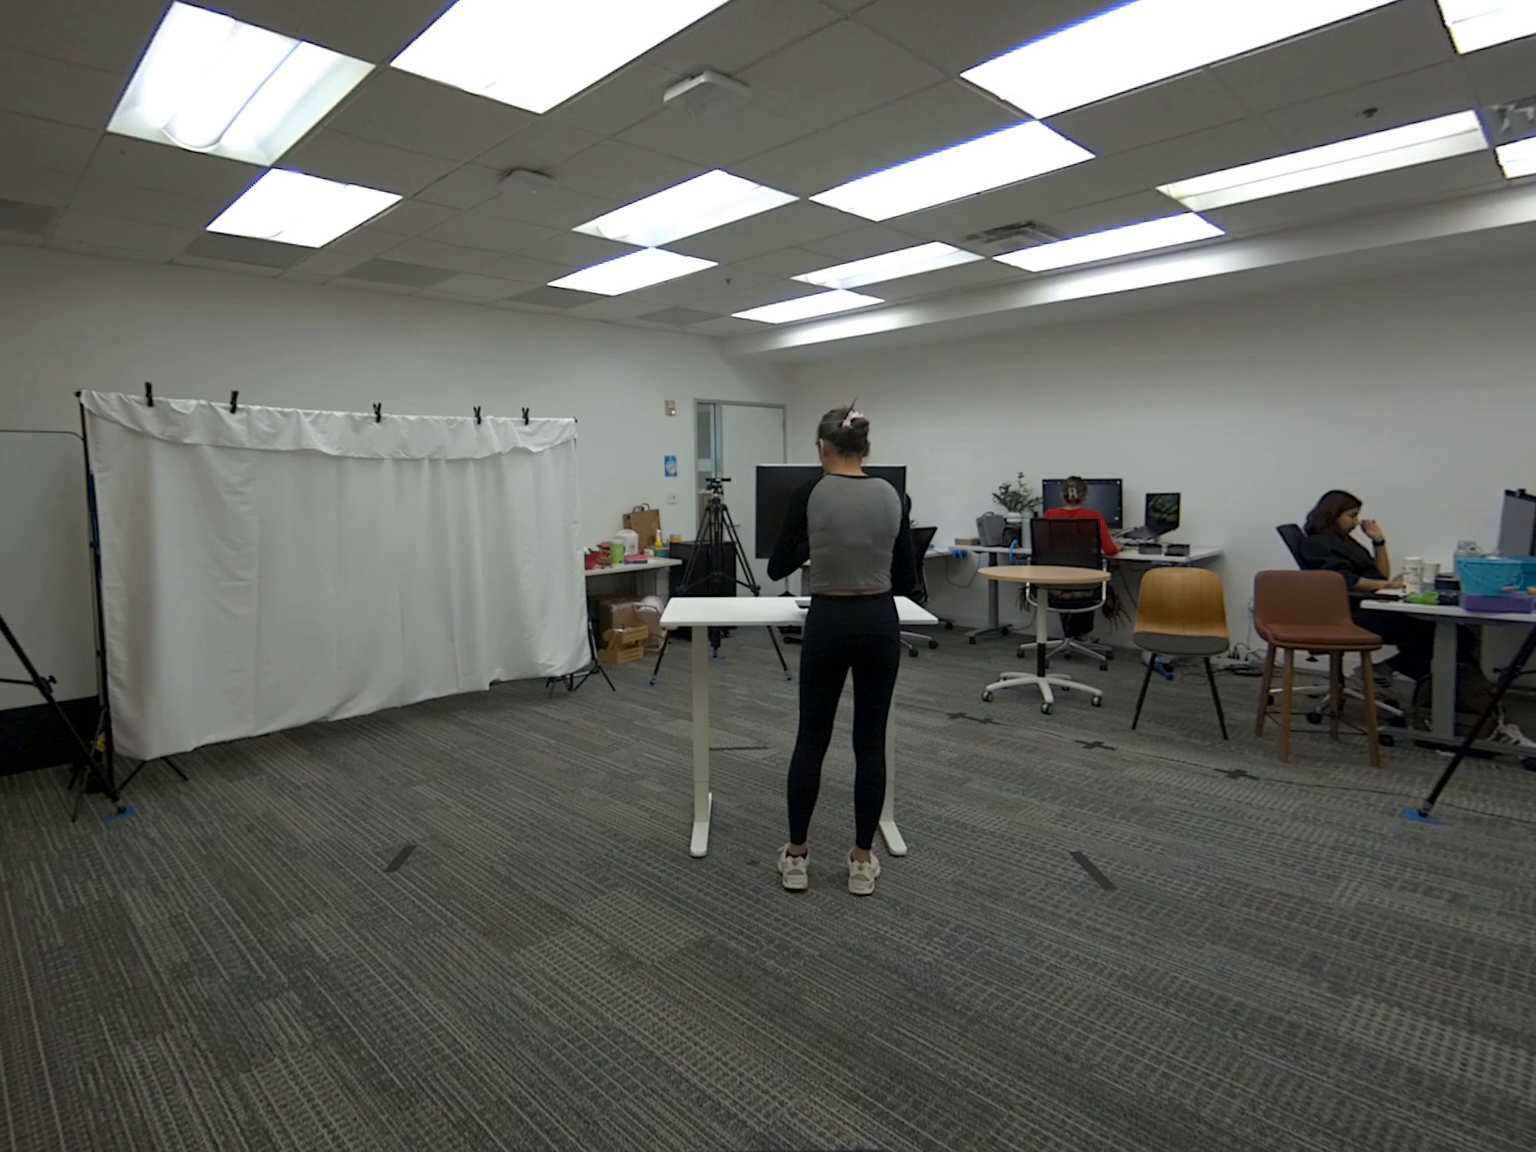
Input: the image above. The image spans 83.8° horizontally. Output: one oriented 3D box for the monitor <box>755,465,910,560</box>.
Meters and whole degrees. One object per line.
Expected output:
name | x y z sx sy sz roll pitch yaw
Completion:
monitor | 0.229 -0.141 3.165 0.540 0.522 0.187 1 0 2
